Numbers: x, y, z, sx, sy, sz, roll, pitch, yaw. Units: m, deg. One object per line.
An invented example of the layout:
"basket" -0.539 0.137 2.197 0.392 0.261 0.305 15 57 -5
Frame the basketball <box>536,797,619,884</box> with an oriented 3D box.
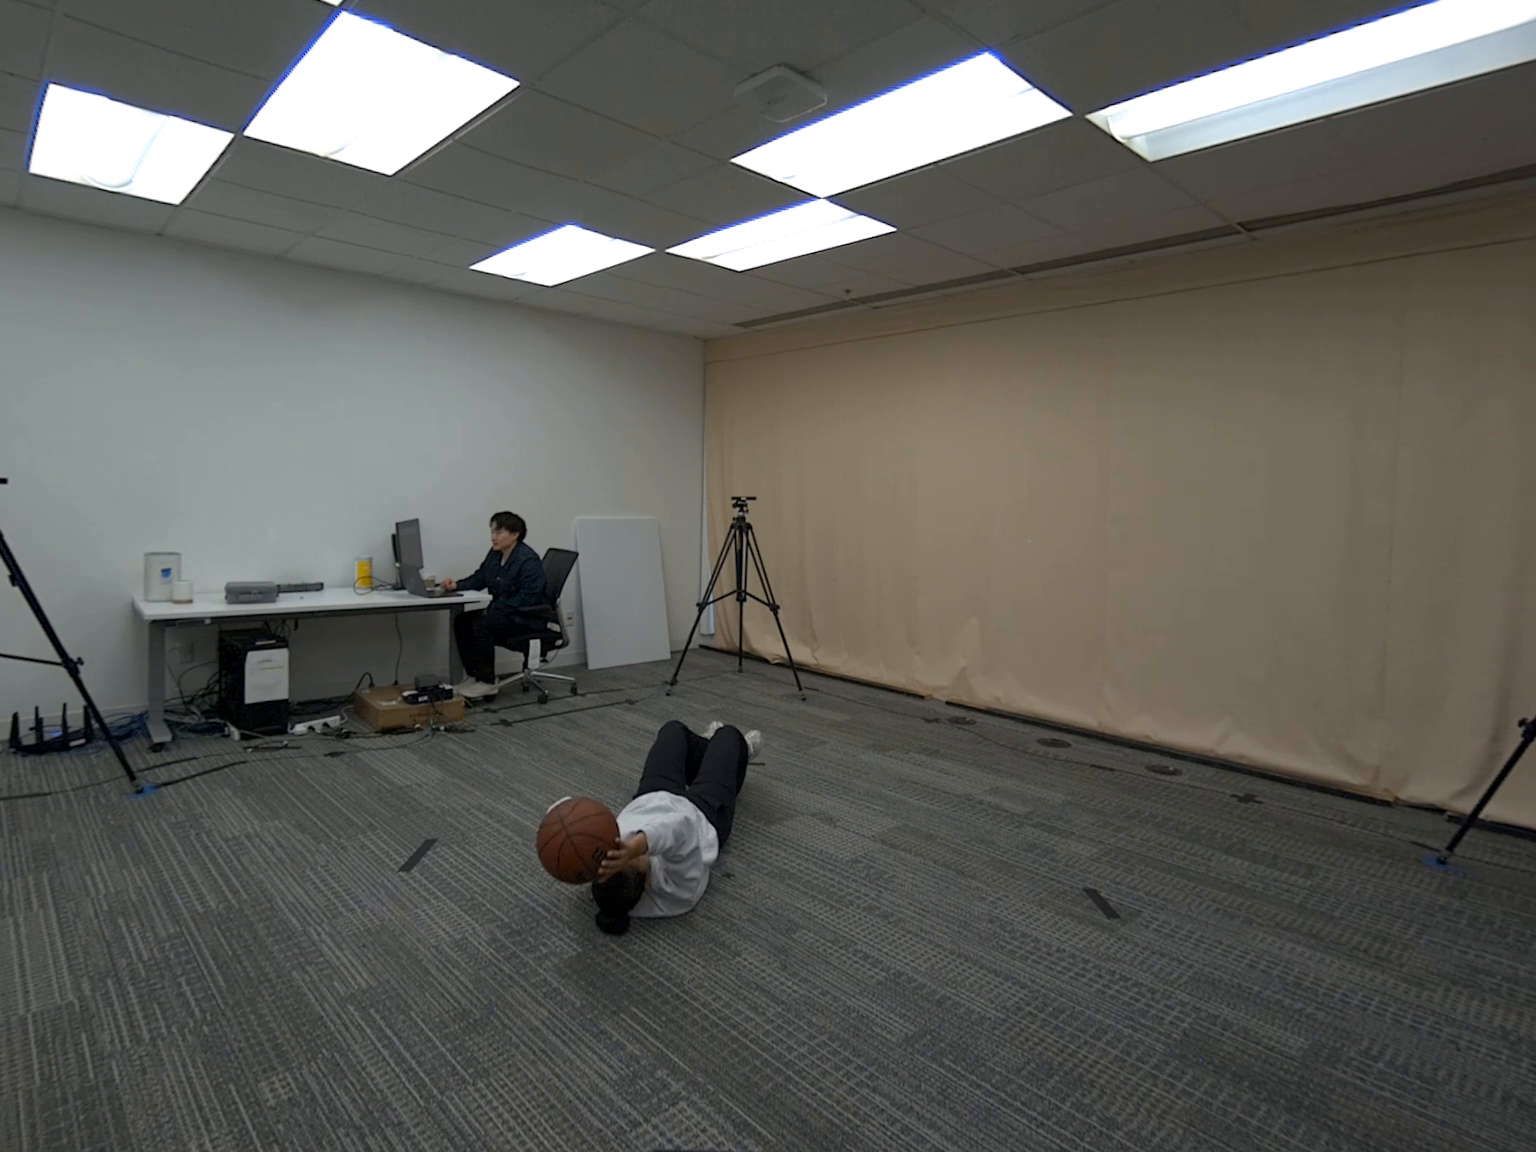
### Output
"basketball" -0.549 0.755 2.438 0.236 0.235 0.237 1 5 -1
